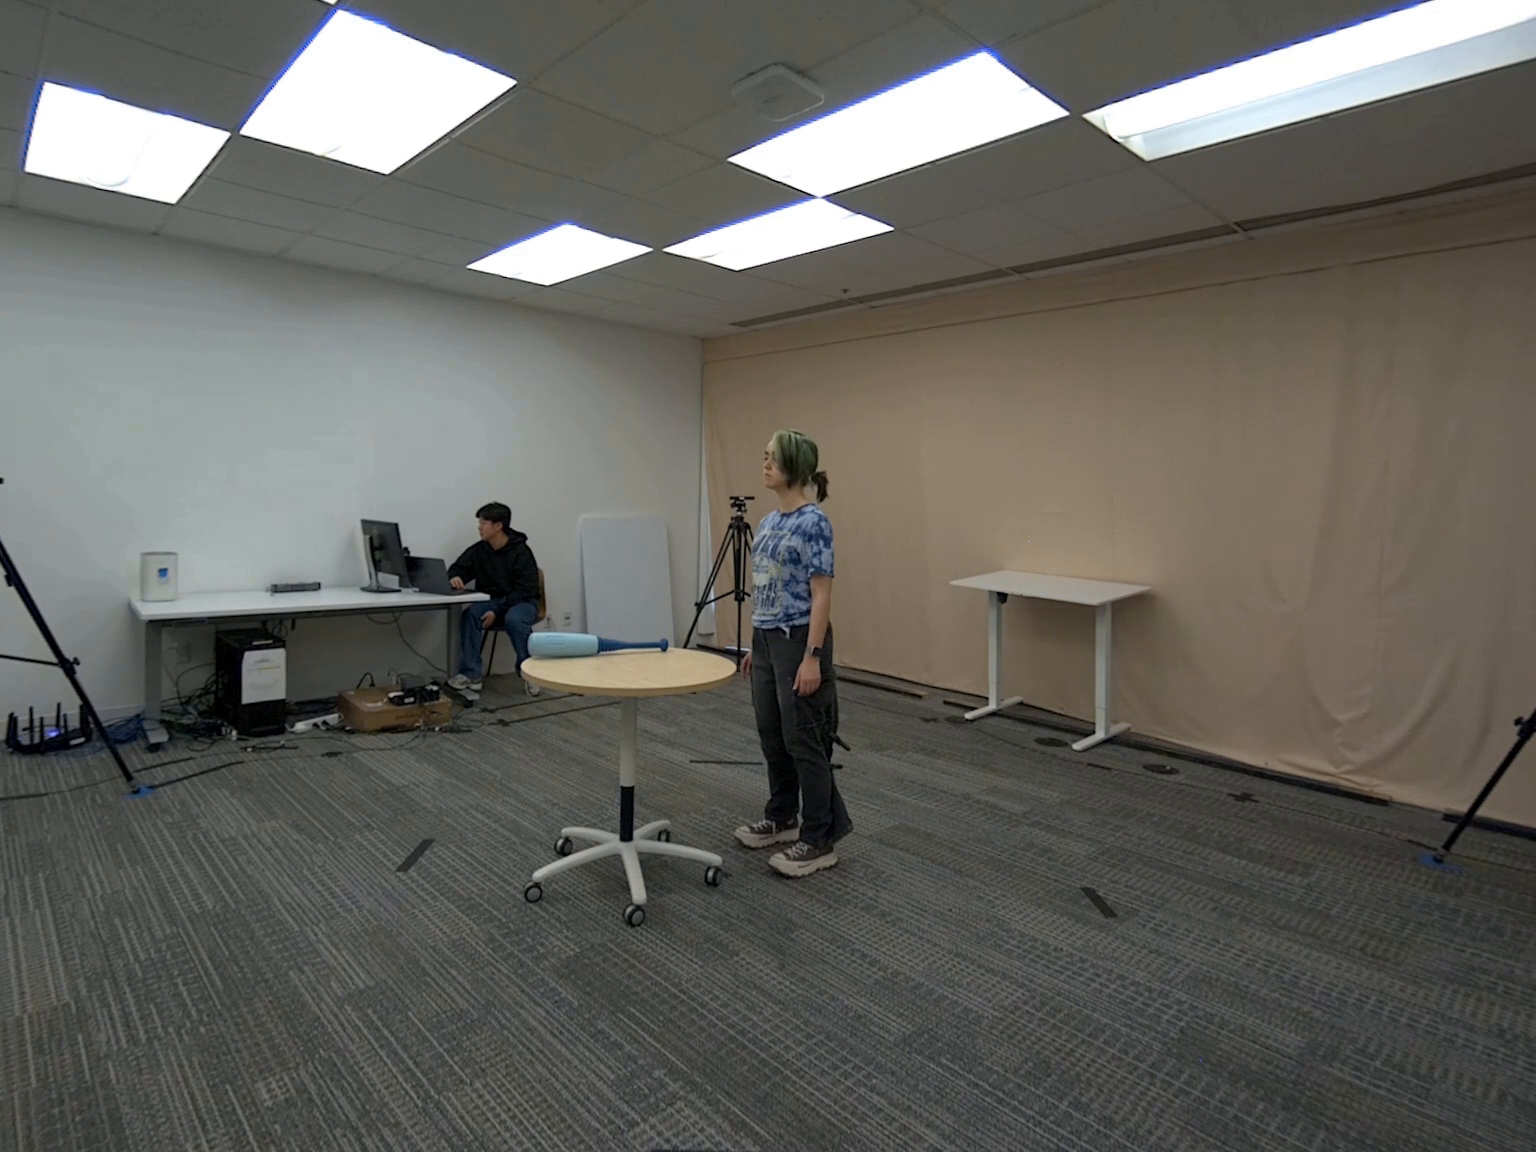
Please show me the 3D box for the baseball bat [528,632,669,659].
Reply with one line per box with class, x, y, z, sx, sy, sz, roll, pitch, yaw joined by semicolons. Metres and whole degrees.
baseball bat;-0.646;0.268;3.186;0.532;0.089;0.091;3;3;-27
